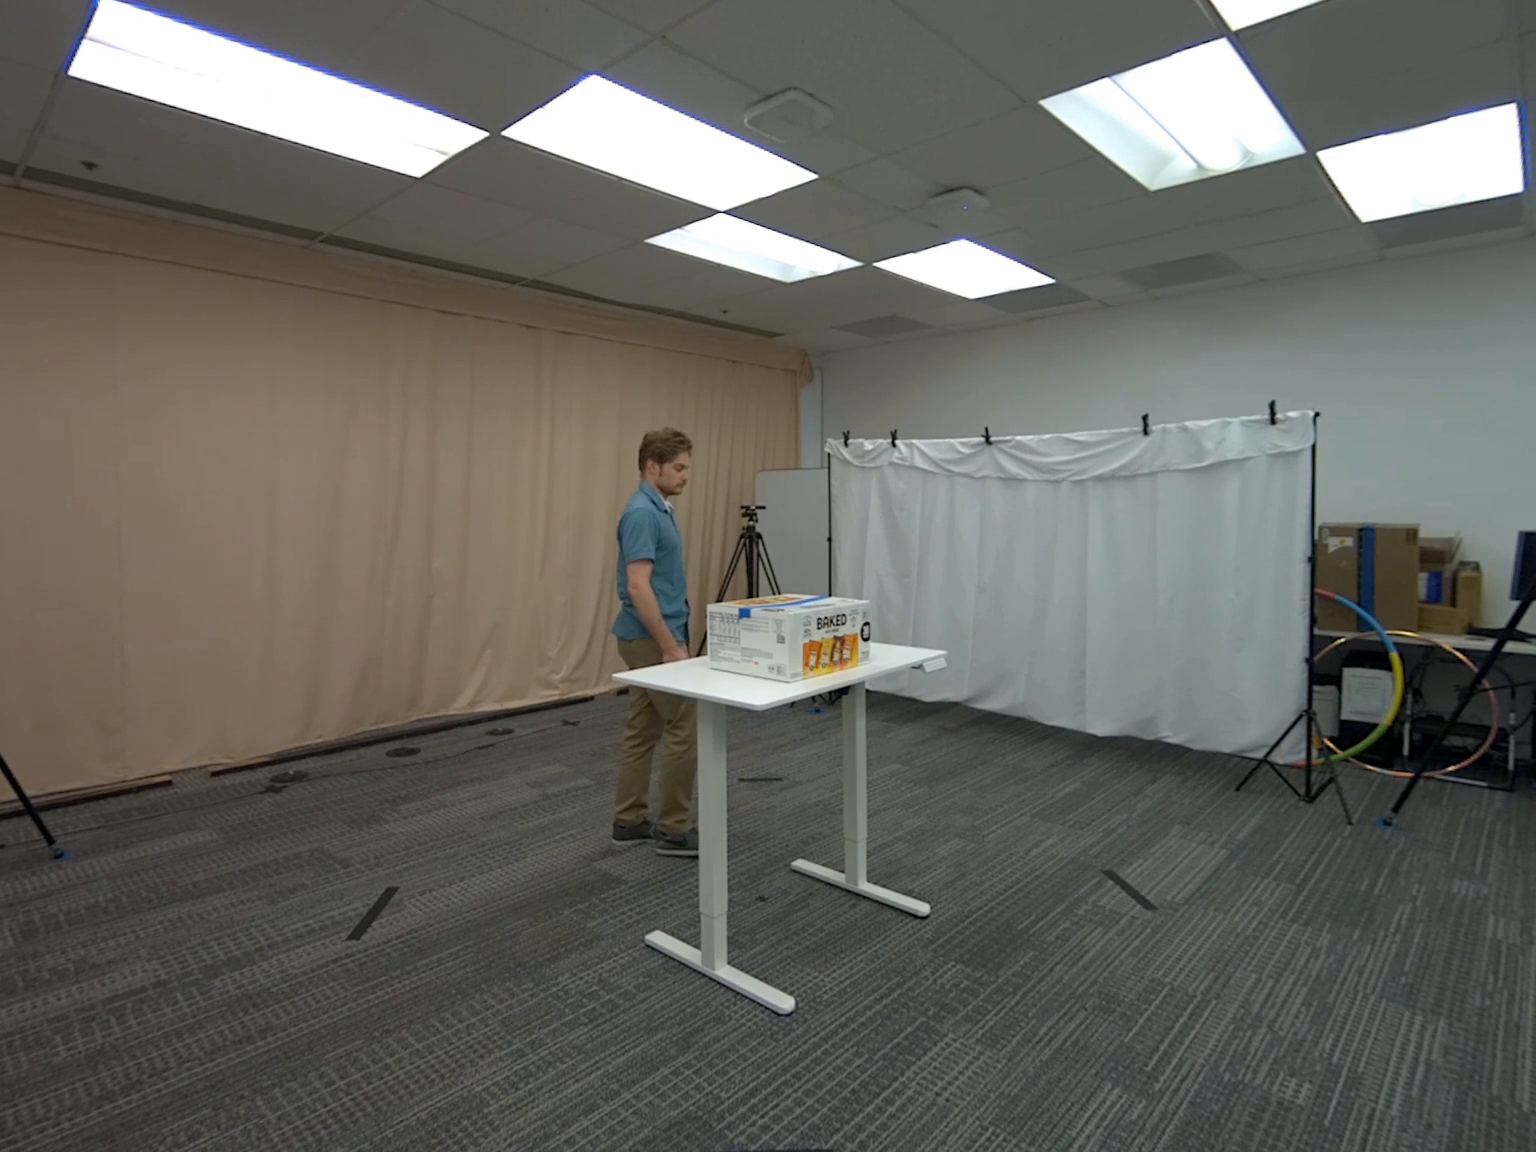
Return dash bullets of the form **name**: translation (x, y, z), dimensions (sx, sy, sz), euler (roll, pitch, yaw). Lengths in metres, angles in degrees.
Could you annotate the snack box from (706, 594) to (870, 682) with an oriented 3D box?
- **snack box**: translation (0.071, 0.185, 2.666), dimensions (0.351, 0.205, 0.393), euler (3, 6, 43)
